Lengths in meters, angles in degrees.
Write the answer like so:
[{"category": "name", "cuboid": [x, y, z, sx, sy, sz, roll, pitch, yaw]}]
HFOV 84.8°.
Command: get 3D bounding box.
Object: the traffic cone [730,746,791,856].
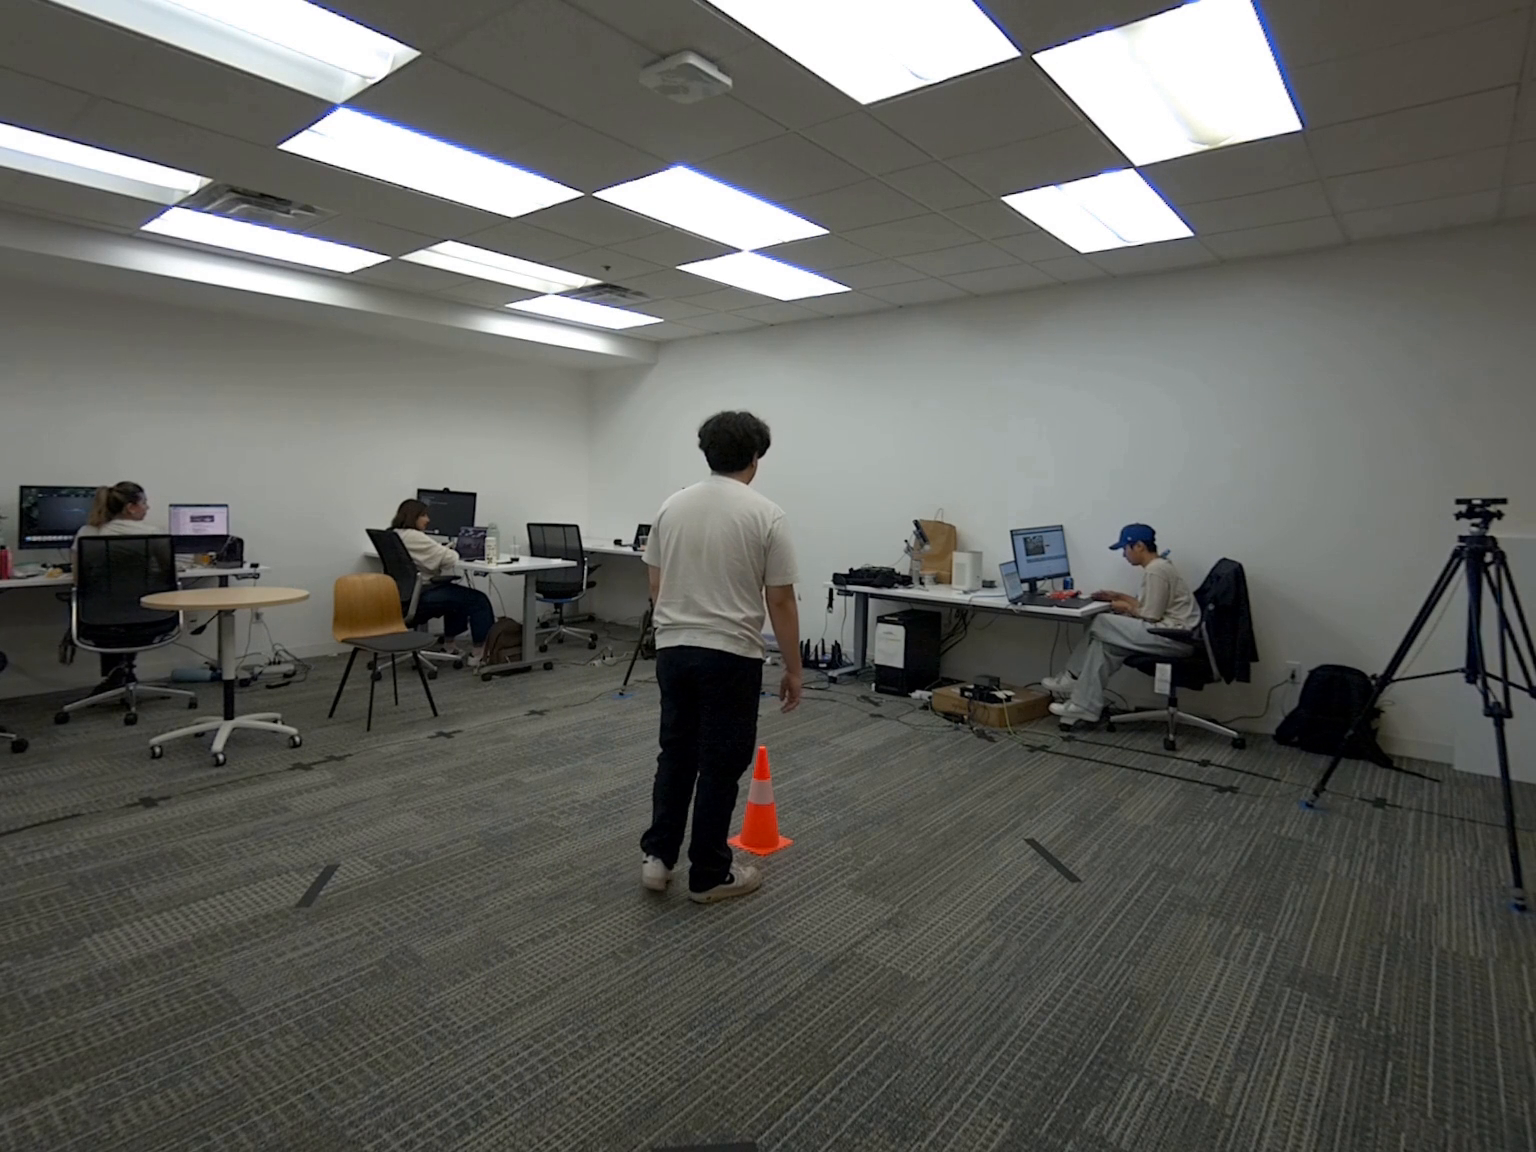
[{"category": "traffic cone", "cuboid": [-0.040, 0.859, 3.360, 0.210, 0.382, 0.199, 4, 4, 42]}]
